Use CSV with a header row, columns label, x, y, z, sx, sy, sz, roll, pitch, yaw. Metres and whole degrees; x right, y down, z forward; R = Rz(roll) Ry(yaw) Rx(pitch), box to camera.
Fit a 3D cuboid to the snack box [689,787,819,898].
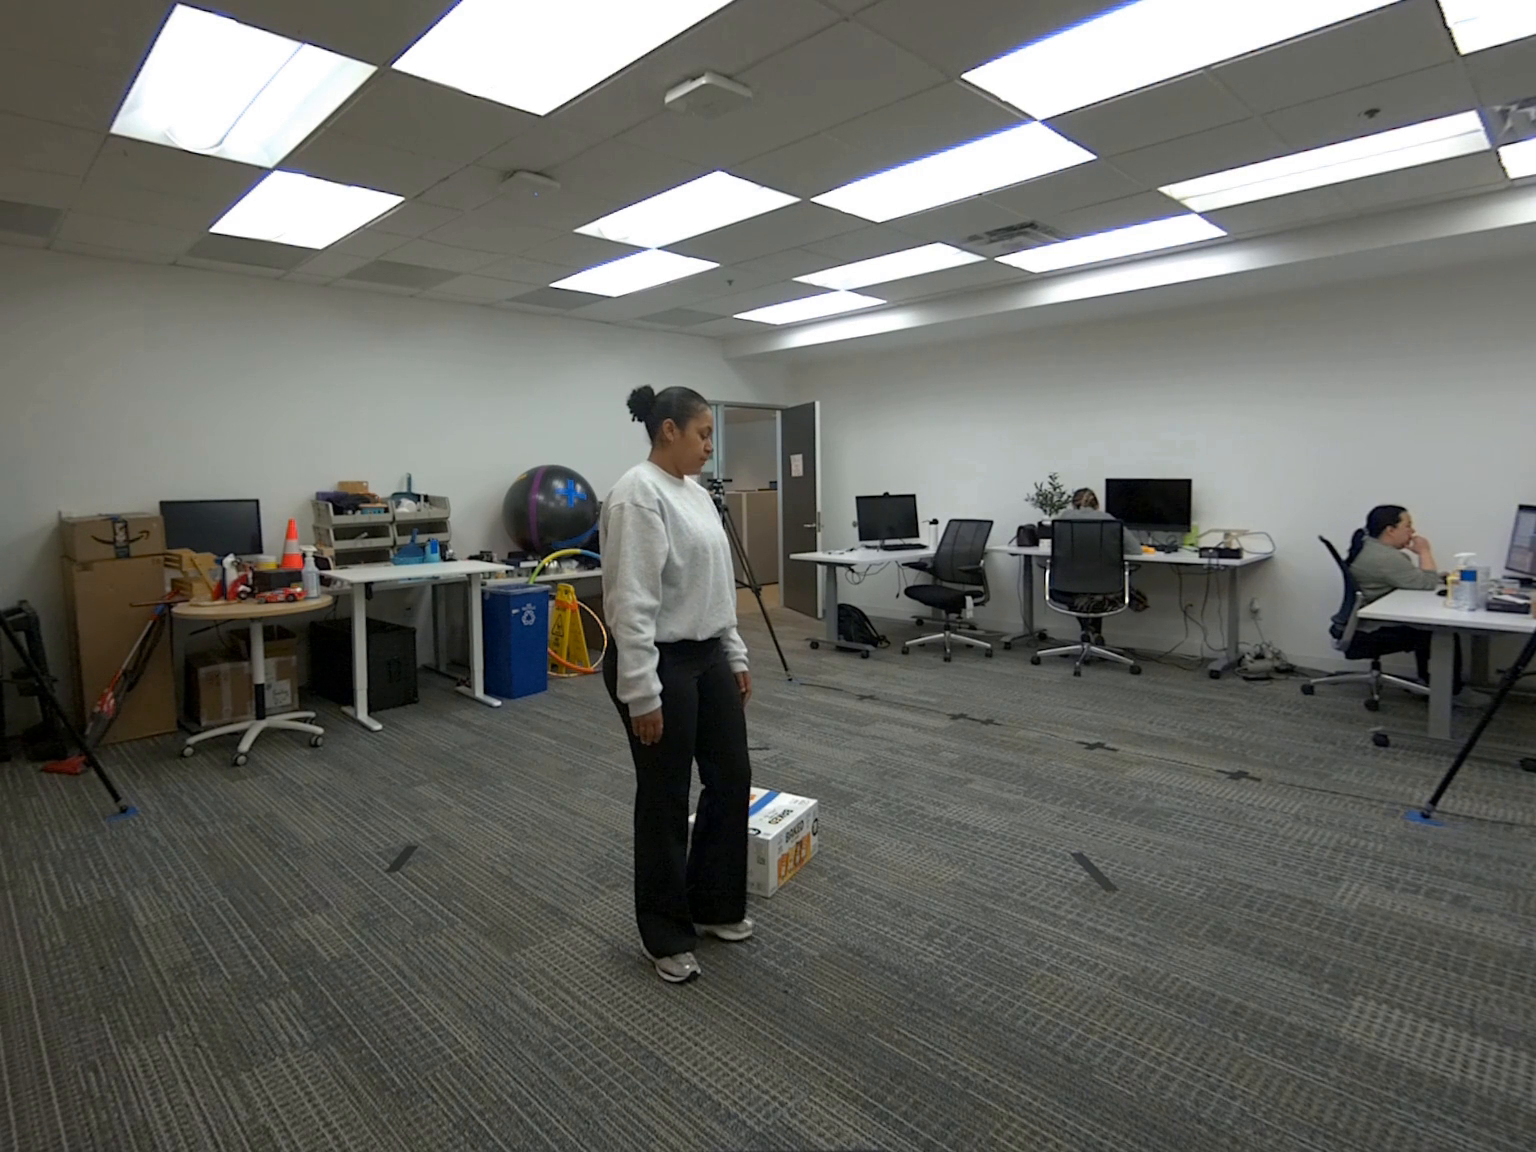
label,x,y,z,sx,sy,sz,roll,pitch,yaw
snack box,-0.052,0.946,3.092,0.349,0.205,0.397,2,7,28
